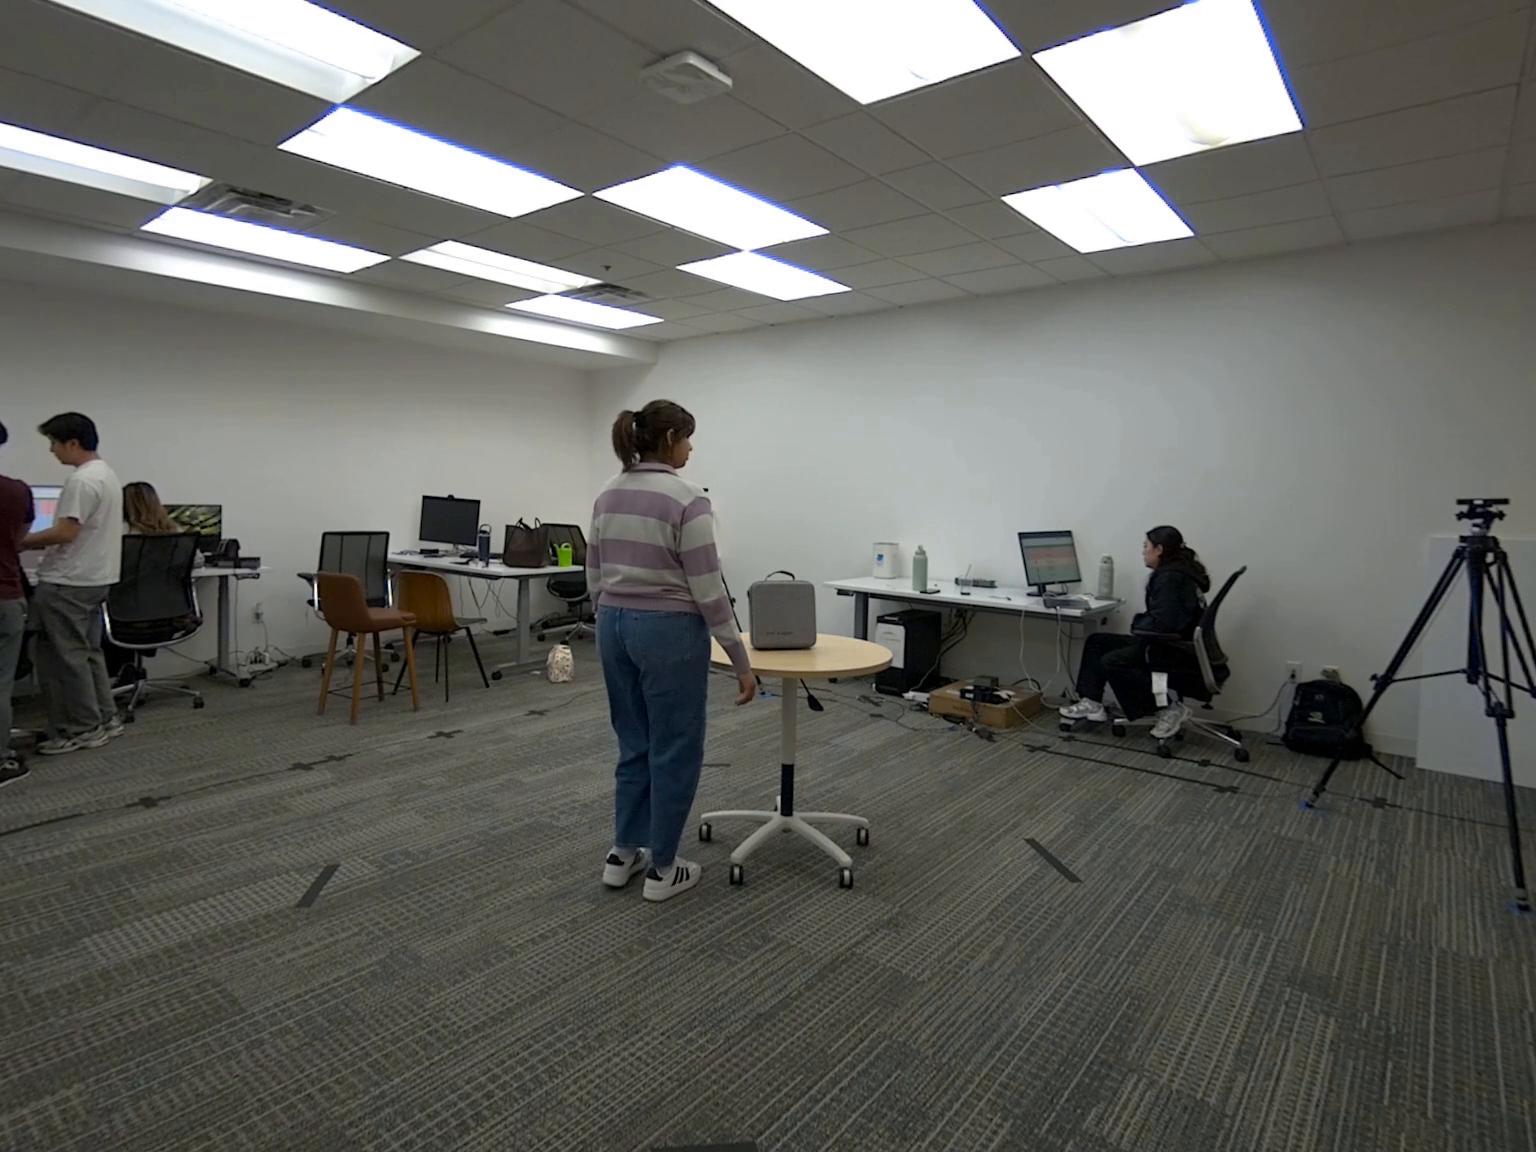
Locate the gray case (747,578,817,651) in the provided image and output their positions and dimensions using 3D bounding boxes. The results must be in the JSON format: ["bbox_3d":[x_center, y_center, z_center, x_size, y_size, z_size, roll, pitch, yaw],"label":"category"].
[{"bbox_3d":[0.045,0.145,3.275,0.254,0.262,0.105,2,-6,-11],"label":"gray case"}]
